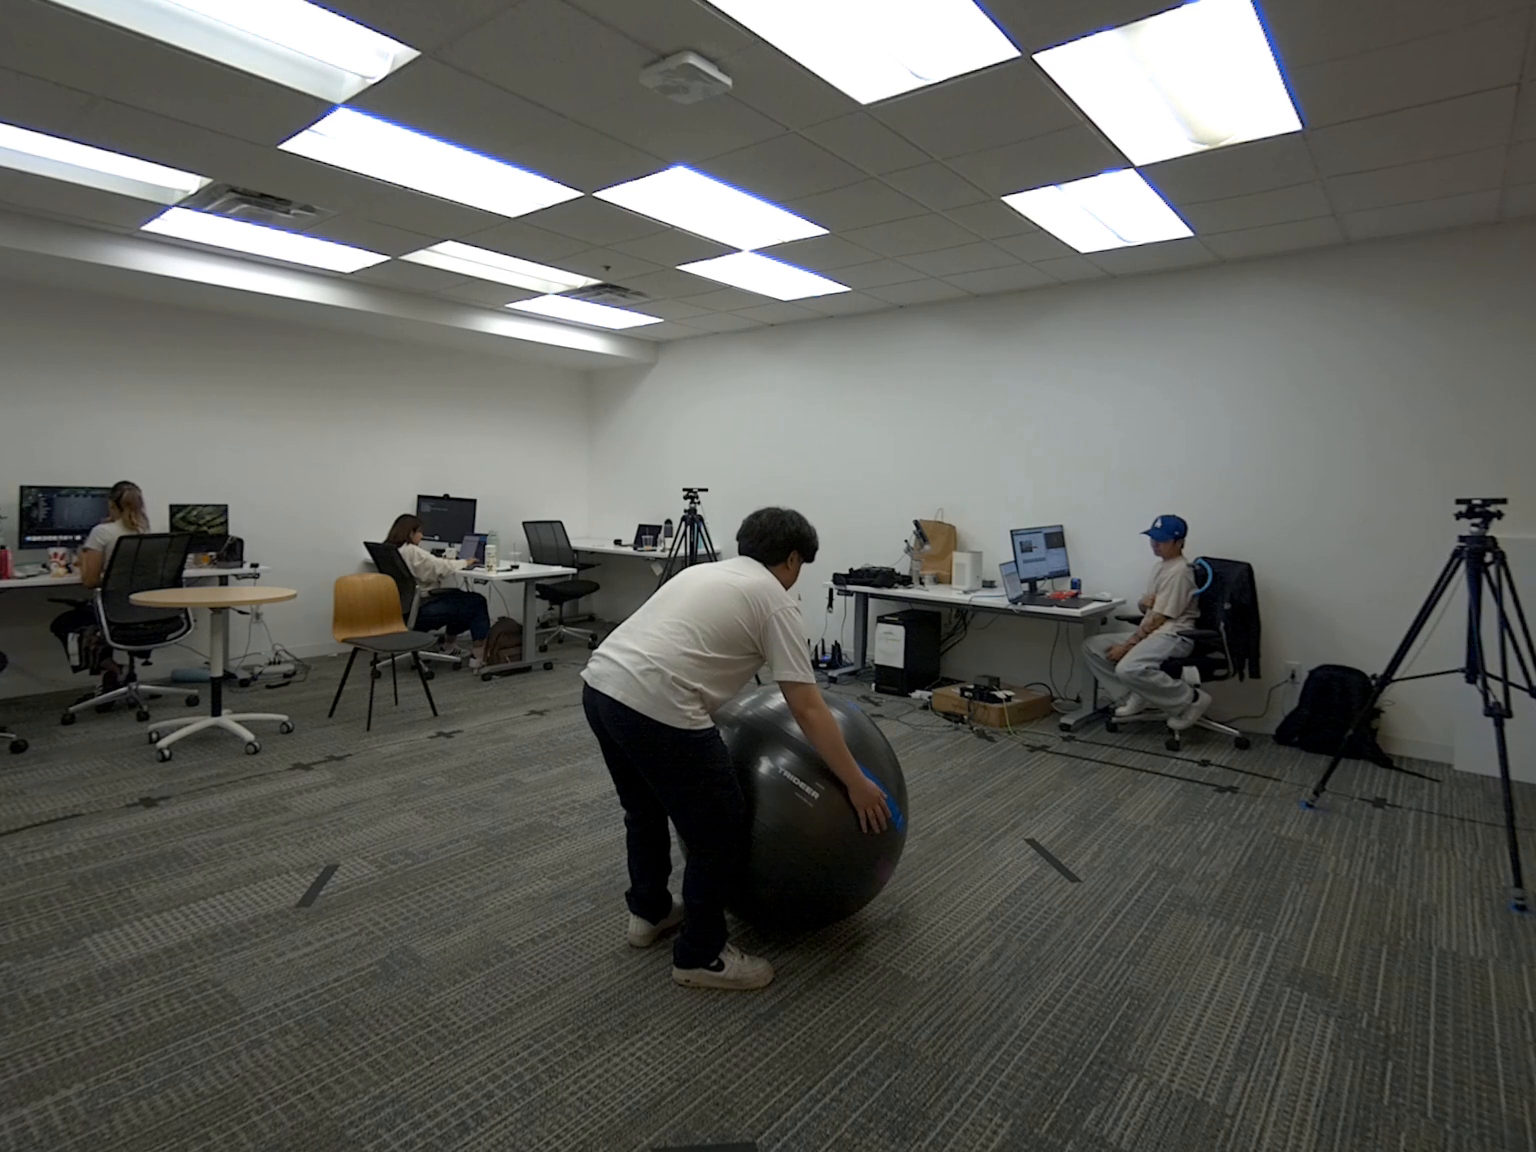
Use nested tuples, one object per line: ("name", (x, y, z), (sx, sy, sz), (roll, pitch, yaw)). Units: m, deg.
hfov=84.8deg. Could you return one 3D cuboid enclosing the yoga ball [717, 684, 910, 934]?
("yoga ball", (0.069, 0.740, 2.760), (0.757, 0.755, 0.762), (1, 4, -2))
